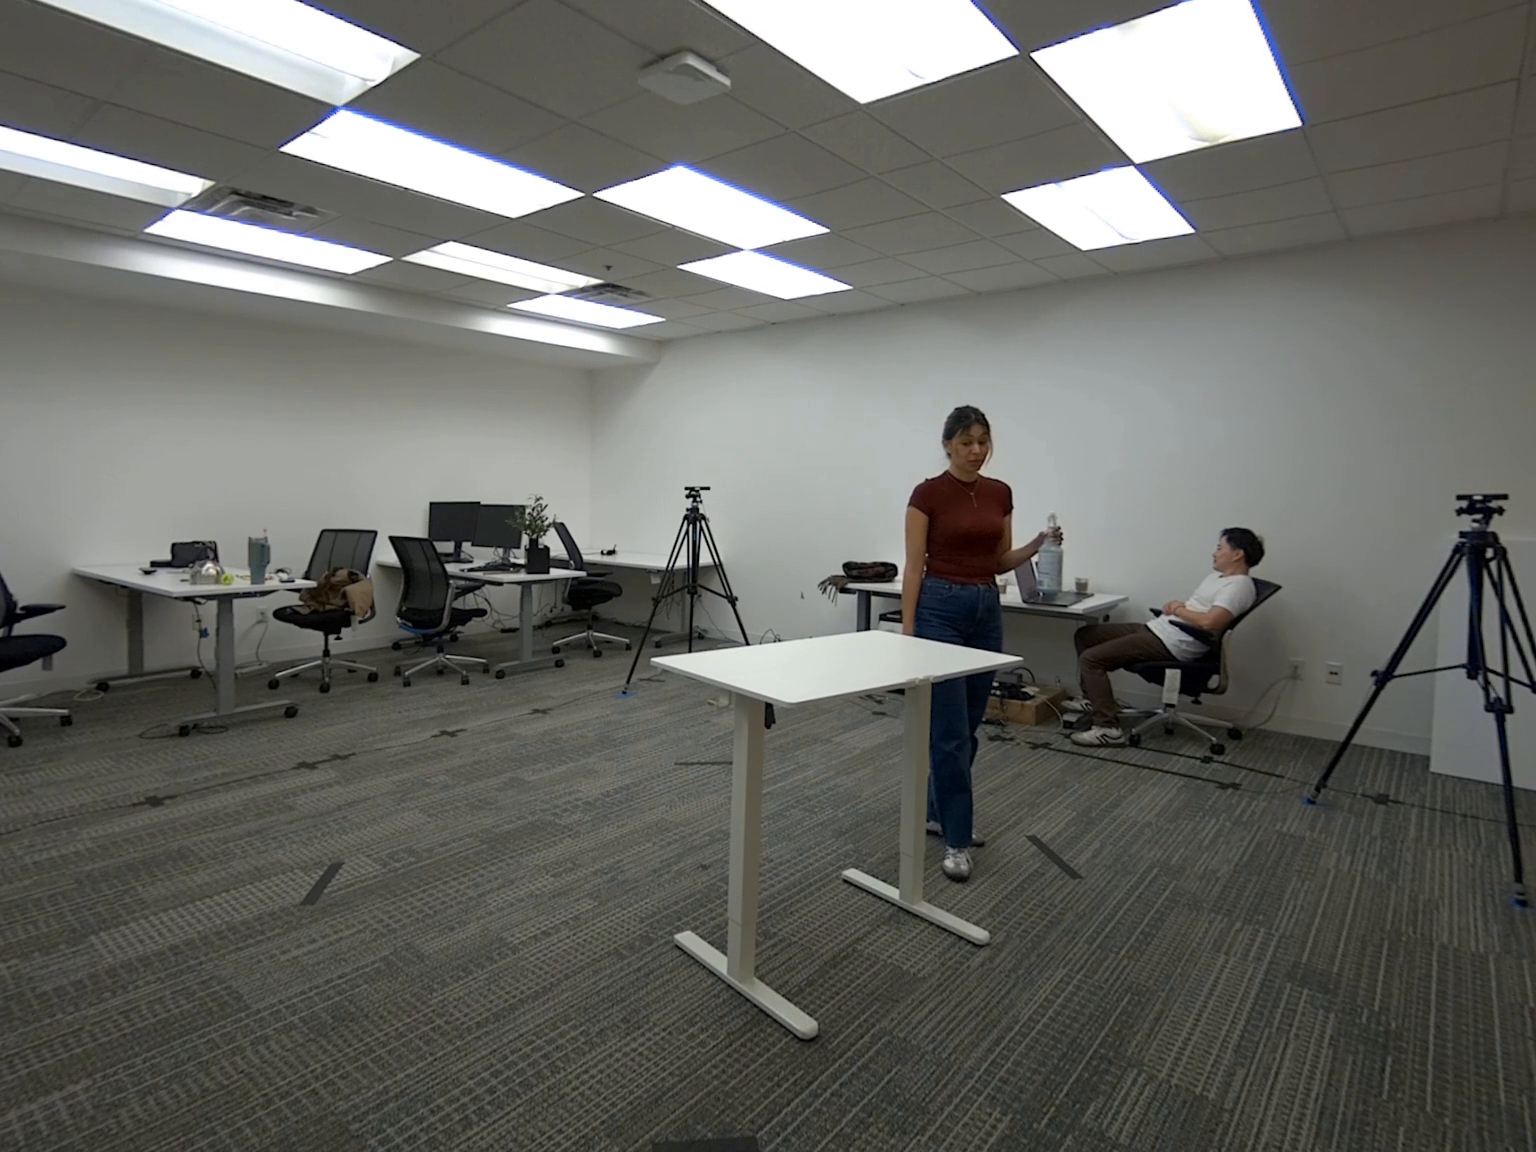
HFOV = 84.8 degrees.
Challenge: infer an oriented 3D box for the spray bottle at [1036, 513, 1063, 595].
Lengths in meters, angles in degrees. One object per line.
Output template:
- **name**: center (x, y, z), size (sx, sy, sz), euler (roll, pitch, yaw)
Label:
- **spray bottle**: center (1.044, -0.092, 3.109), size (0.090, 0.295, 0.087), euler (6, 8, 38)
